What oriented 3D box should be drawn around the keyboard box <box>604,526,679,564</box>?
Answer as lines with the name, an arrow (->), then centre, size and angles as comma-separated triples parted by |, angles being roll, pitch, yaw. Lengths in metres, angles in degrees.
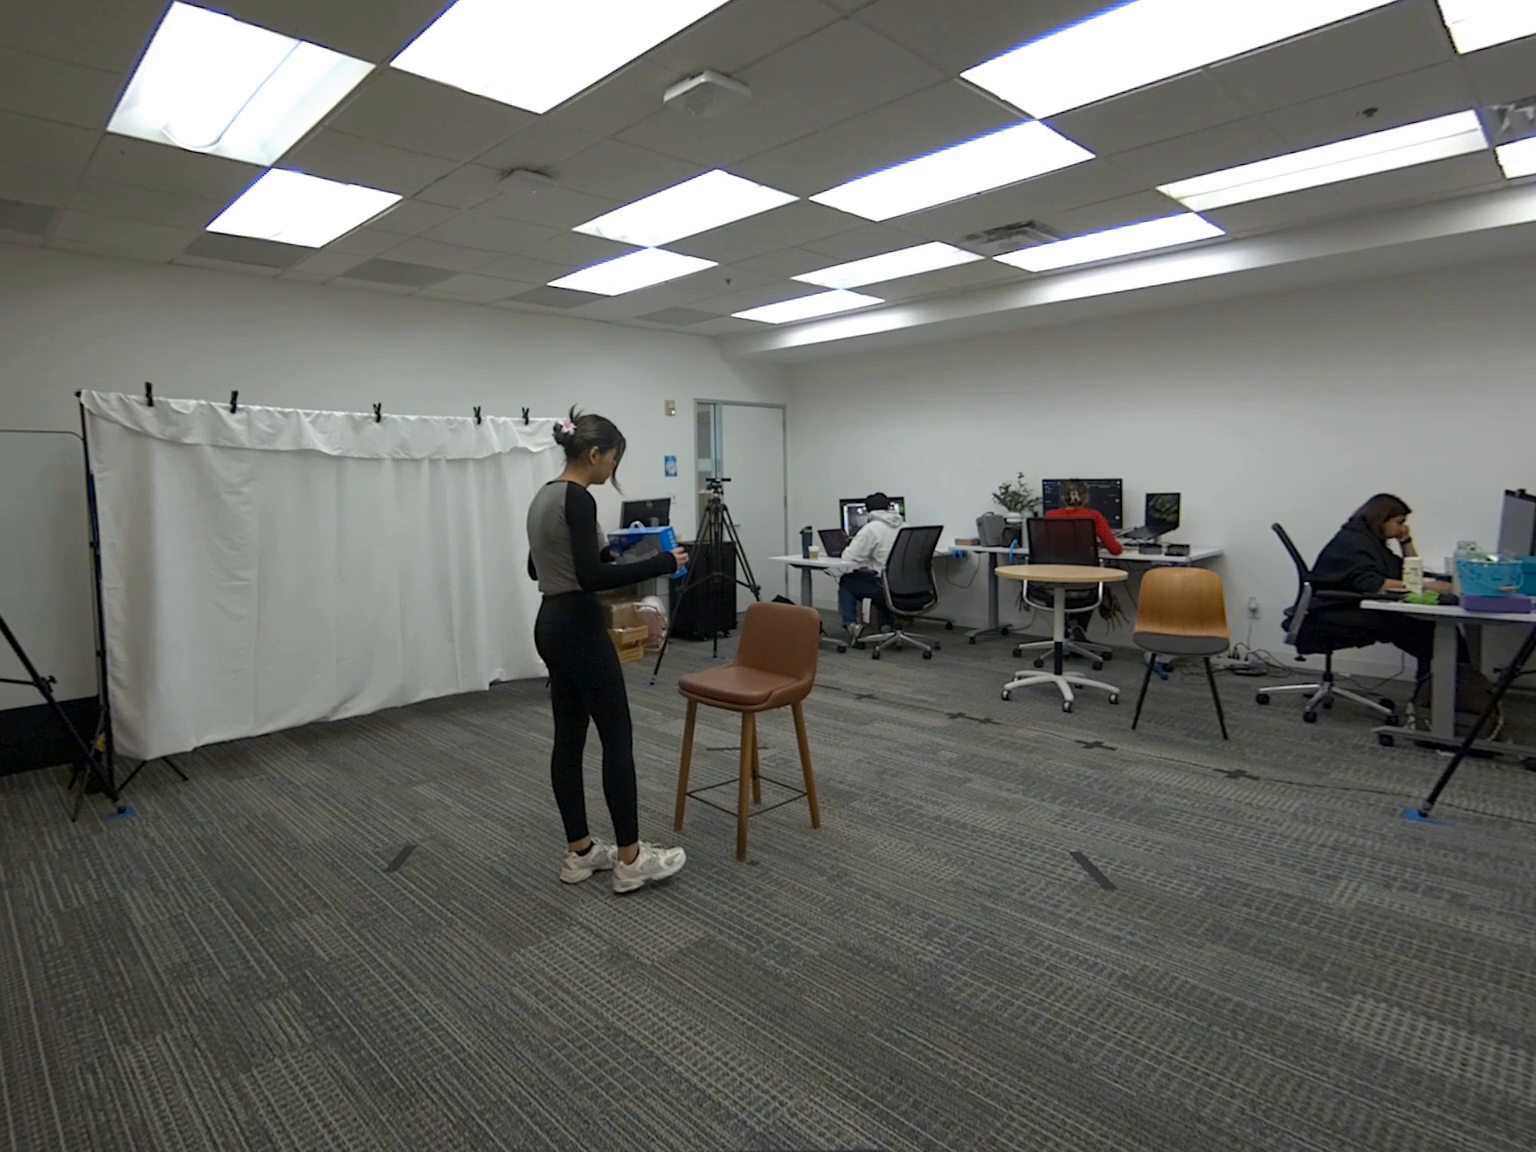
keyboard box -> -0.450, -0.085, 3.135 | 0.058, 0.174, 0.448 | -22, 13, -32
